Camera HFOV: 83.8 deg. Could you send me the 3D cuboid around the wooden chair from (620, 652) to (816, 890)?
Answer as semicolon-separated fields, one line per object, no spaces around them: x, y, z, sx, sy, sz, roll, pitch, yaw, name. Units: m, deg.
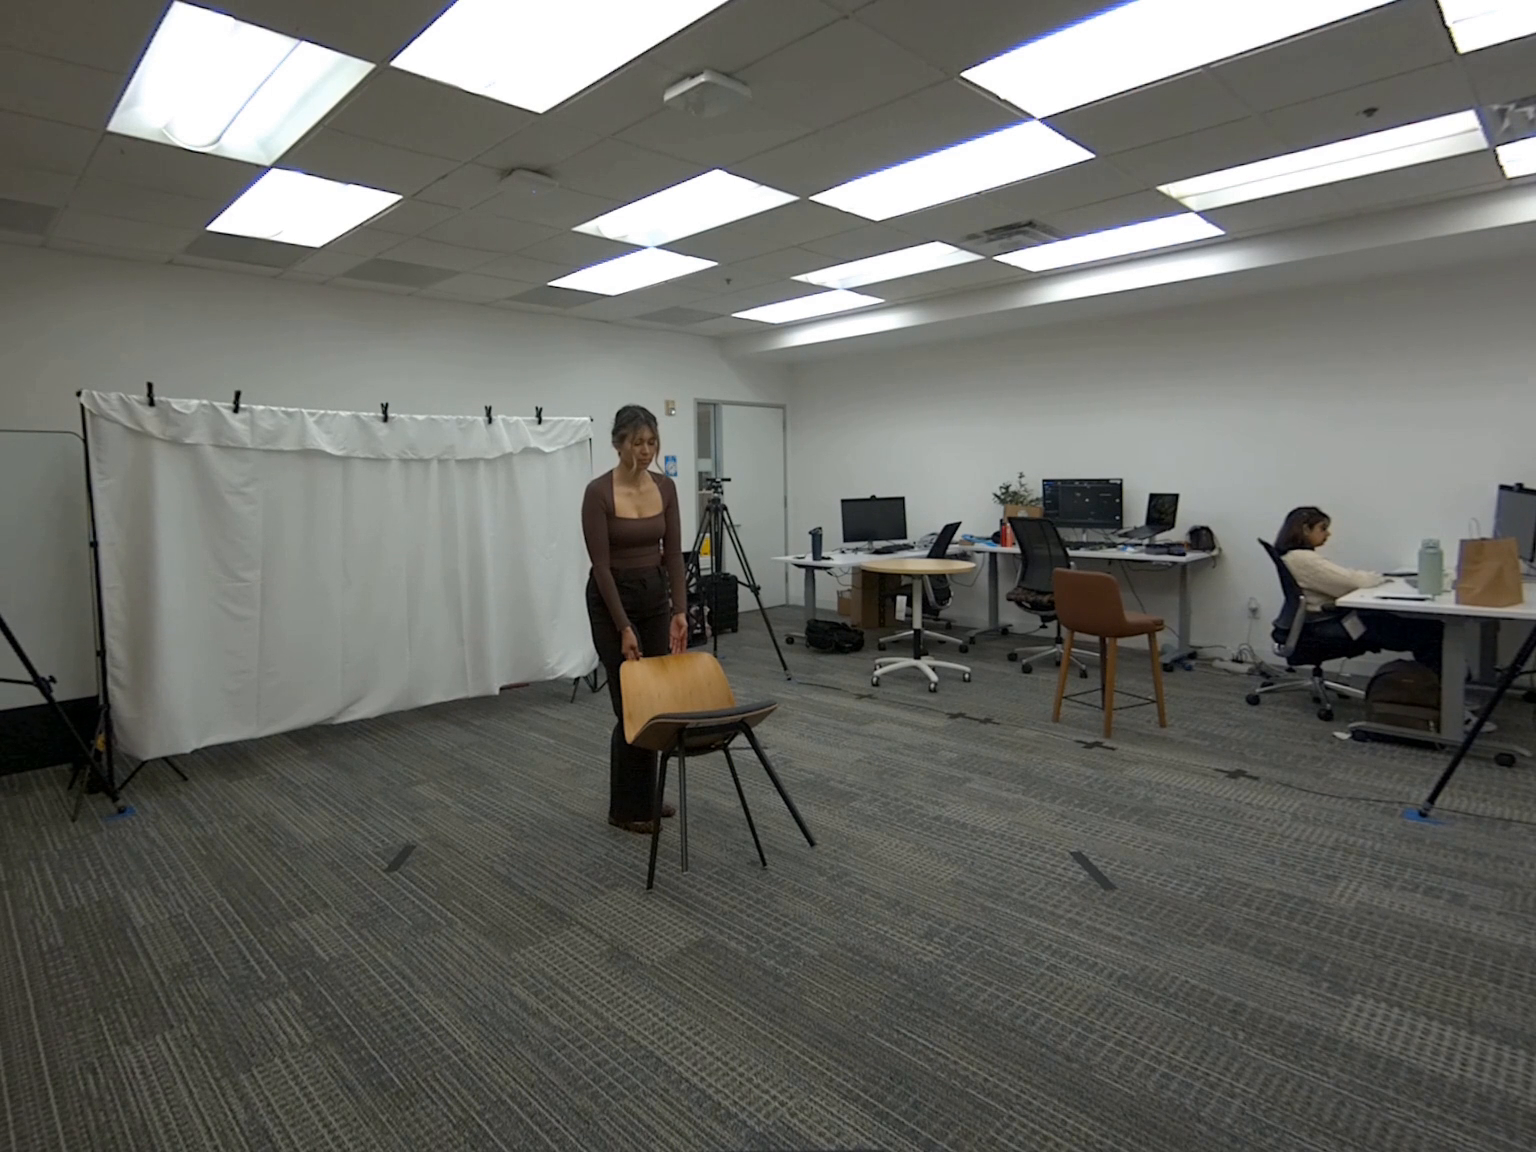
-0.222;0.573;2.972;0.469;0.902;0.519;-3;-30;-23;wooden chair
